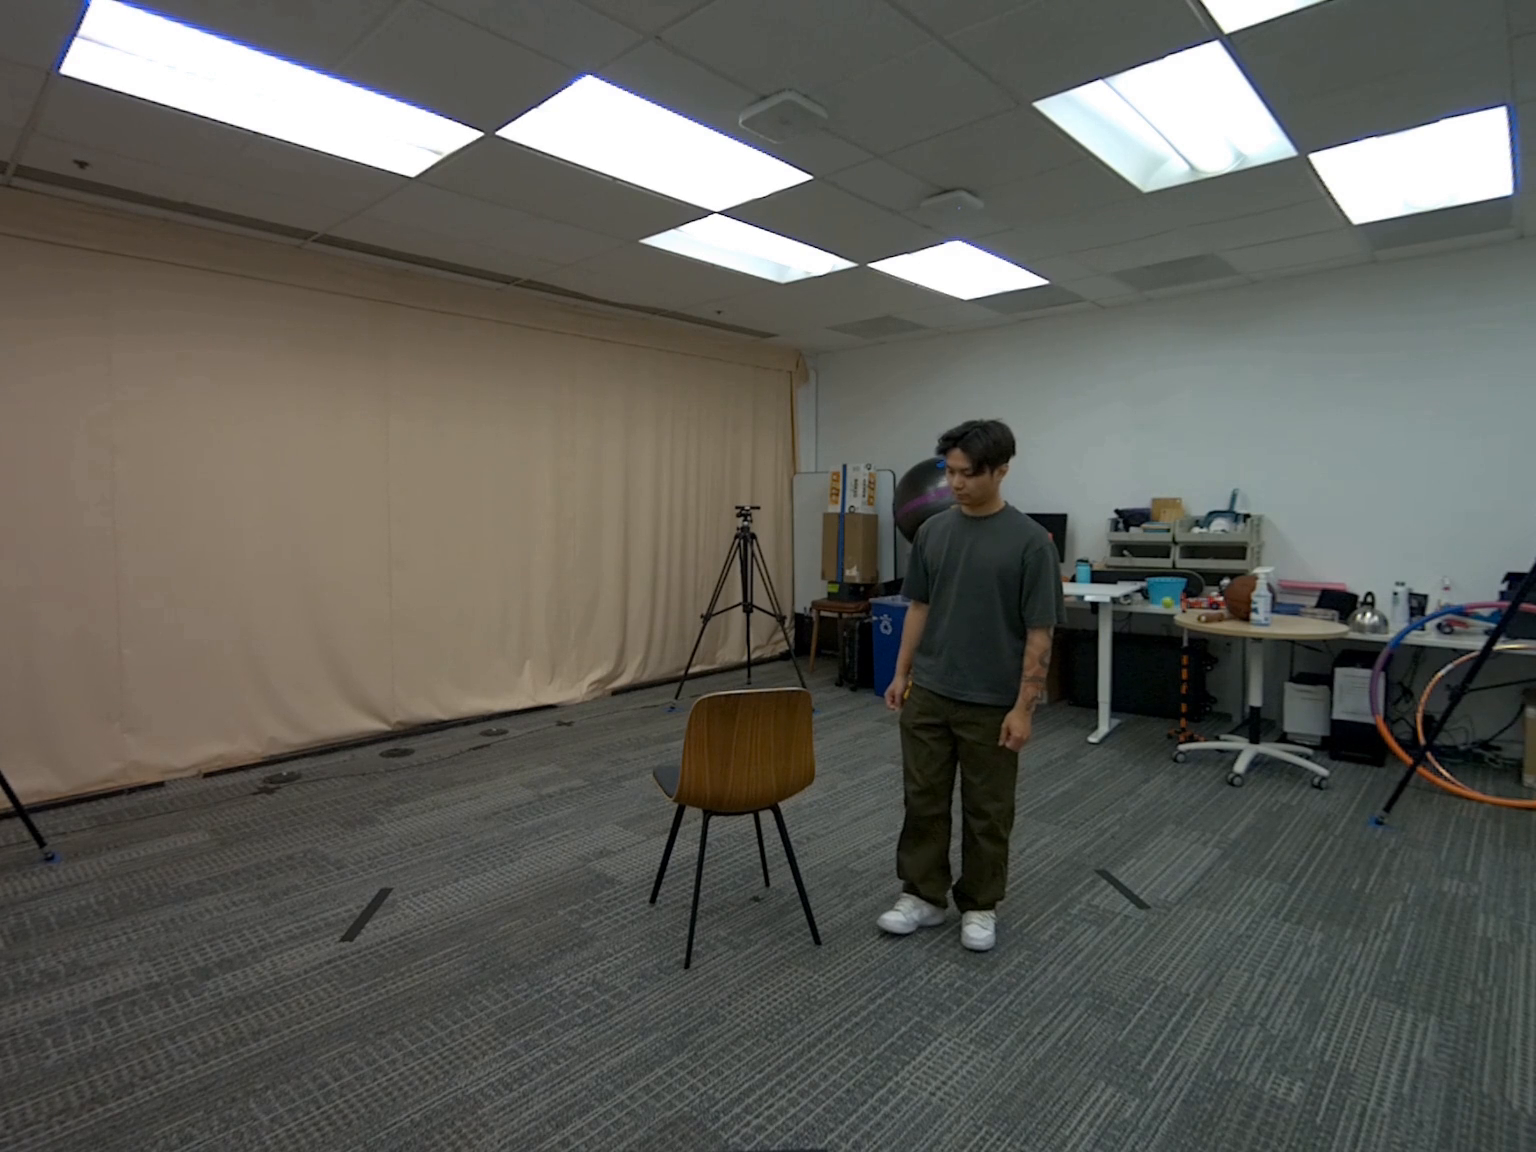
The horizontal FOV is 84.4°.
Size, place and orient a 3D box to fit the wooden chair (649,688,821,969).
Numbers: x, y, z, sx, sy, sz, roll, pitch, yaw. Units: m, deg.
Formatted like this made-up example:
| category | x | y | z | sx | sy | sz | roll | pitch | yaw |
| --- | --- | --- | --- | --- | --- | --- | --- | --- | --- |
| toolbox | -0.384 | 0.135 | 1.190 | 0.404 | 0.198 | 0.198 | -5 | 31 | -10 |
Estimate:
| category | x | y | z | sx | sy | sz | roll | pitch | yaw |
| --- | --- | --- | --- | --- | --- | --- | --- | --- | --- |
| wooden chair | -0.122 | 0.737 | 2.789 | 0.469 | 0.873 | 0.536 | -1 | 8 | -20 |
